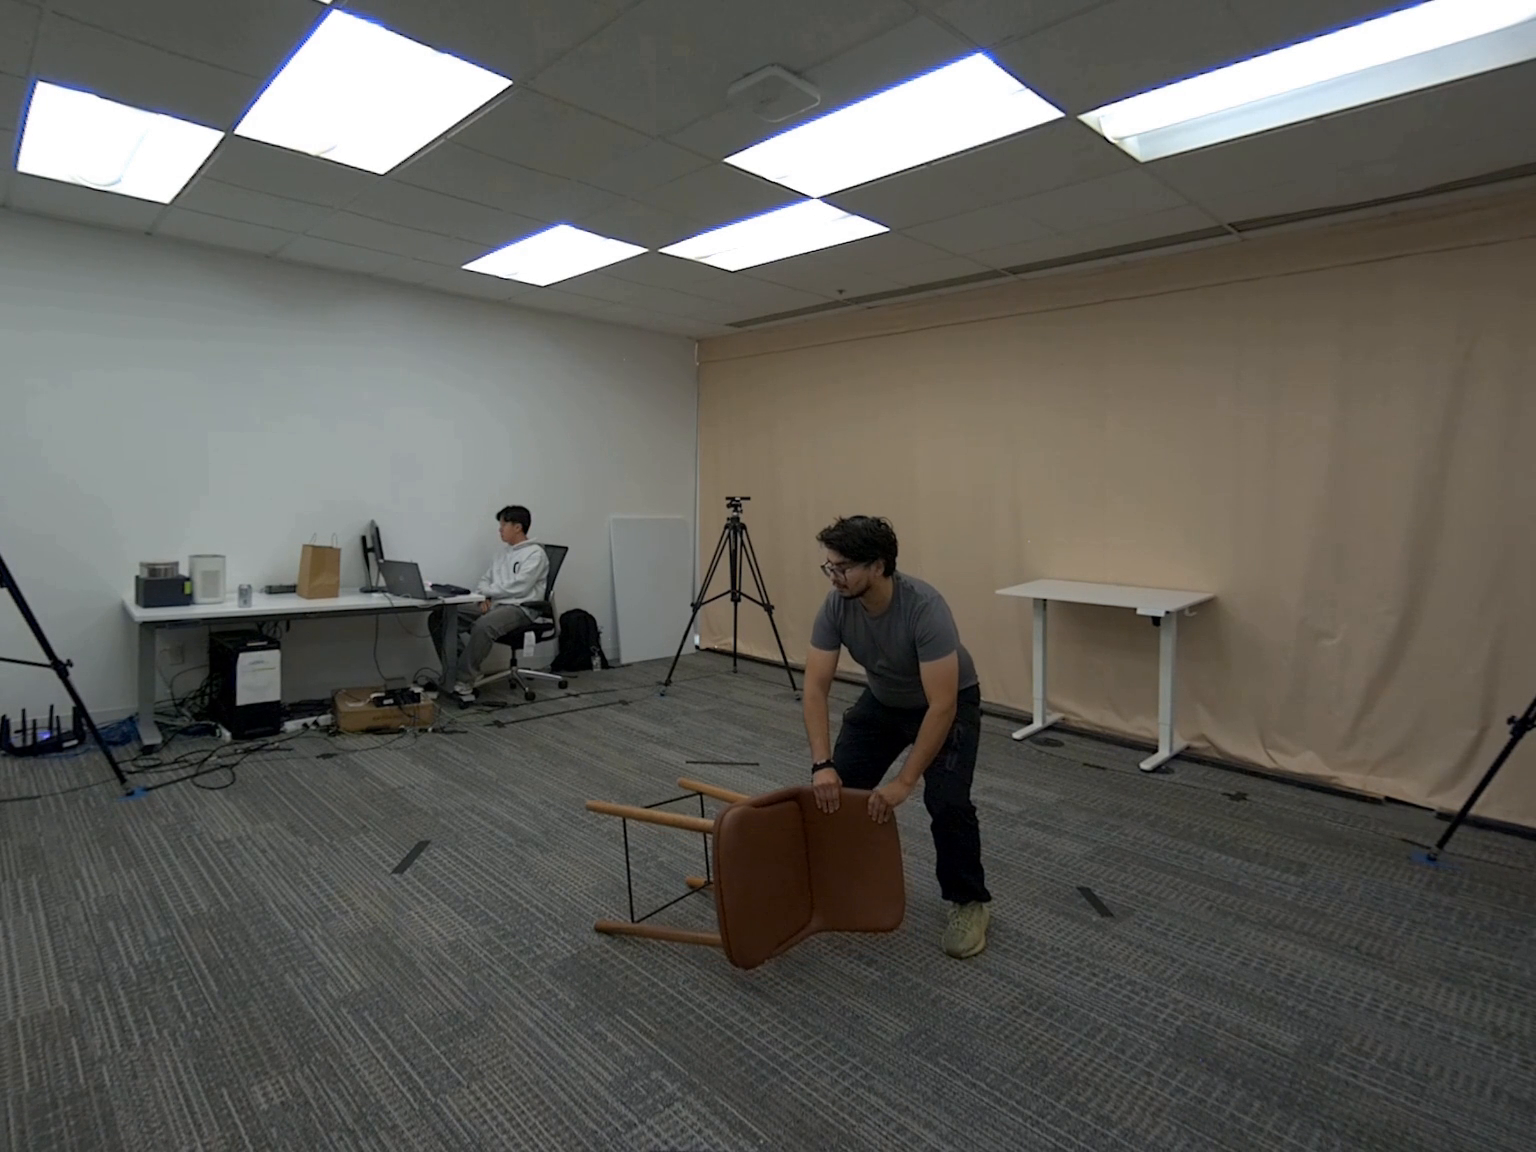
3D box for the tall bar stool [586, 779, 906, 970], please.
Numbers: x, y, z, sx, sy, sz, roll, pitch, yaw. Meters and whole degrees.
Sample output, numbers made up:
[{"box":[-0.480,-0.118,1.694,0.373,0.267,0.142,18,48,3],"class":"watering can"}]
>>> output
[{"box":[-0.100,0.890,2.593,0.908,0.458,0.457,-7,-4,38],"class":"tall bar stool"}]
